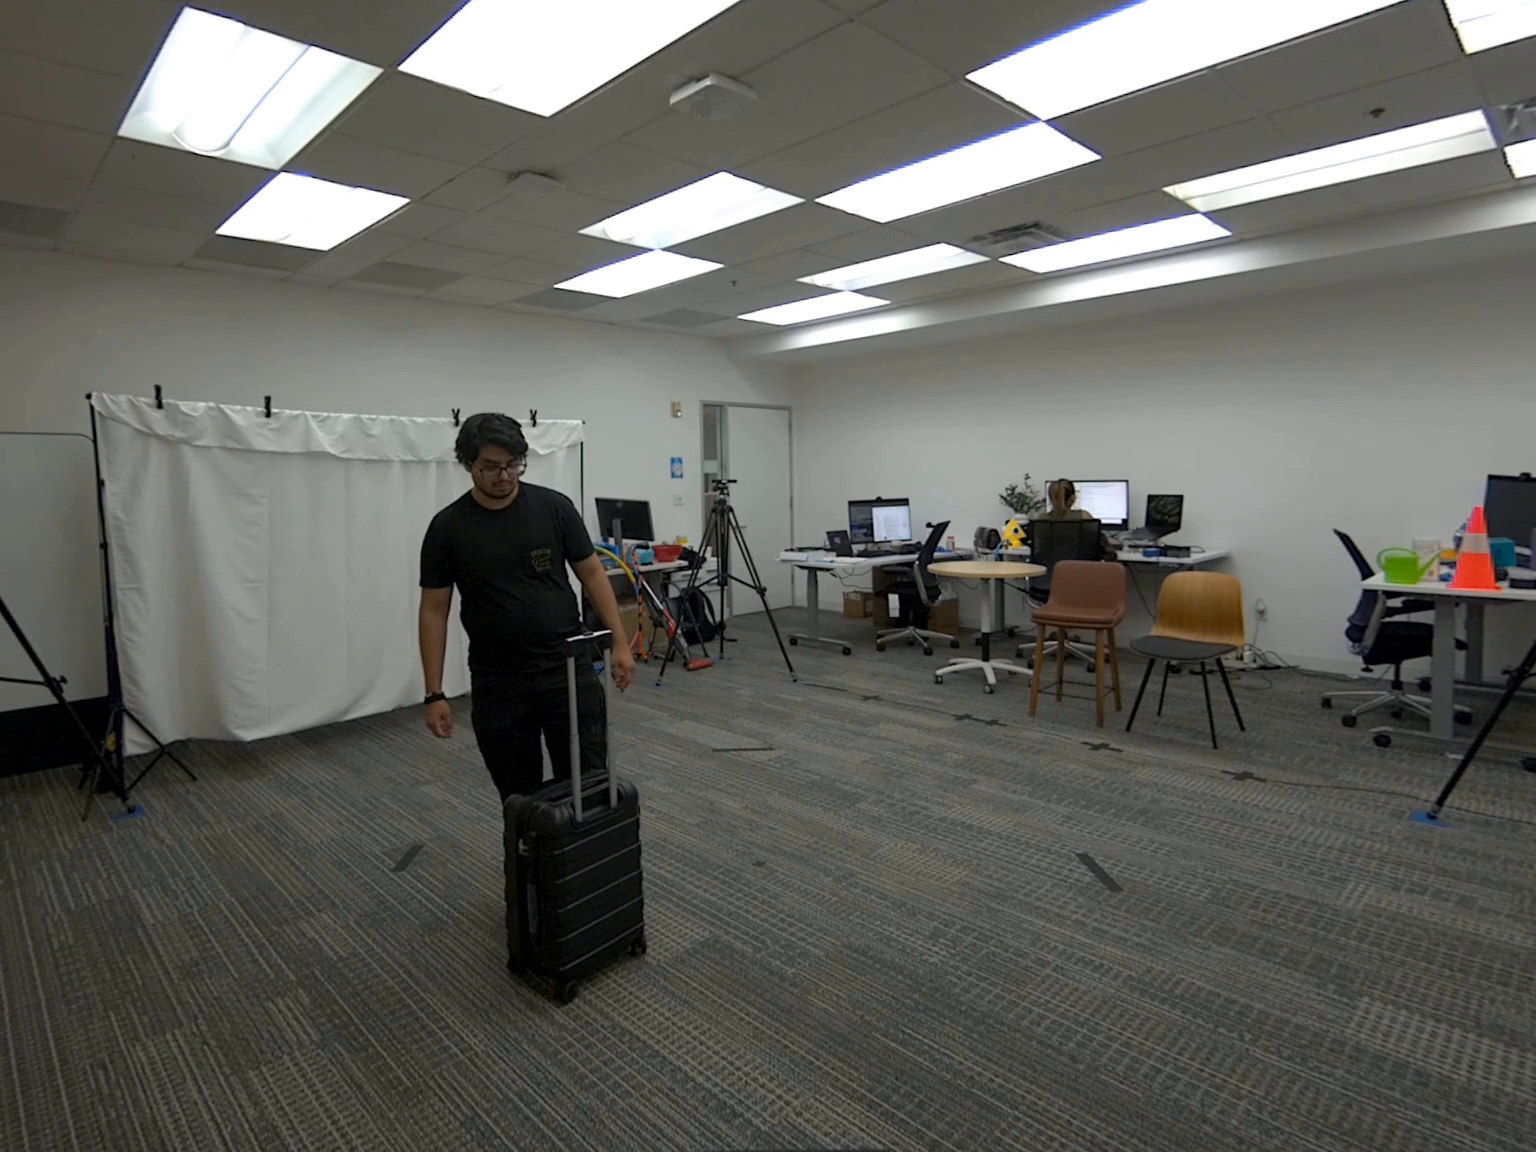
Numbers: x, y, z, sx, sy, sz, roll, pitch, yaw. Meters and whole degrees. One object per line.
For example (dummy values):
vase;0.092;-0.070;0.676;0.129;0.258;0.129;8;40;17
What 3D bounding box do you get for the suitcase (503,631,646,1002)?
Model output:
suitcase;-0.562;0.653;2.443;0.264;0.975;0.374;1;4;38
